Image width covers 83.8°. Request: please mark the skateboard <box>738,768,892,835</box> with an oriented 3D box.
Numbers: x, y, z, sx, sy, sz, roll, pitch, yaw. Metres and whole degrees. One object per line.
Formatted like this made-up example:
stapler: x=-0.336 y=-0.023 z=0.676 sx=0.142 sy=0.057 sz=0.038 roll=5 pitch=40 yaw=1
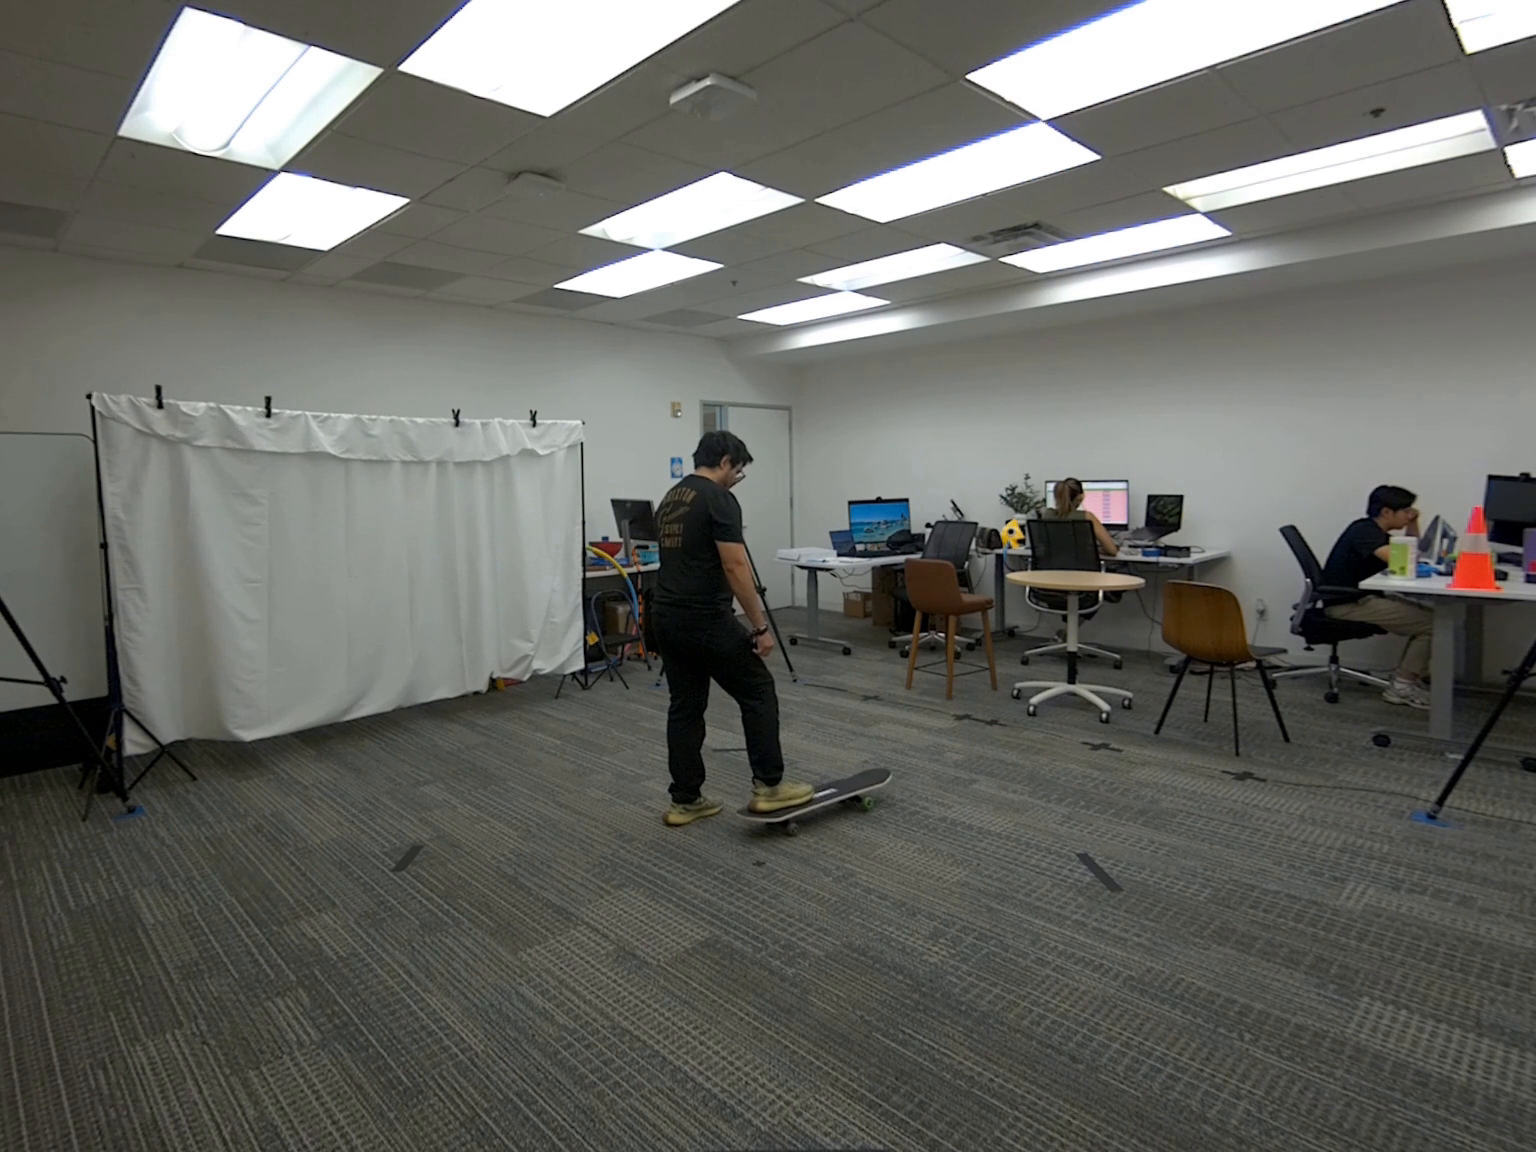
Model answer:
skateboard: x=0.205 y=0.936 z=3.526 sx=0.766 sy=0.110 sz=0.198 roll=-7 pitch=3 yaw=-35
